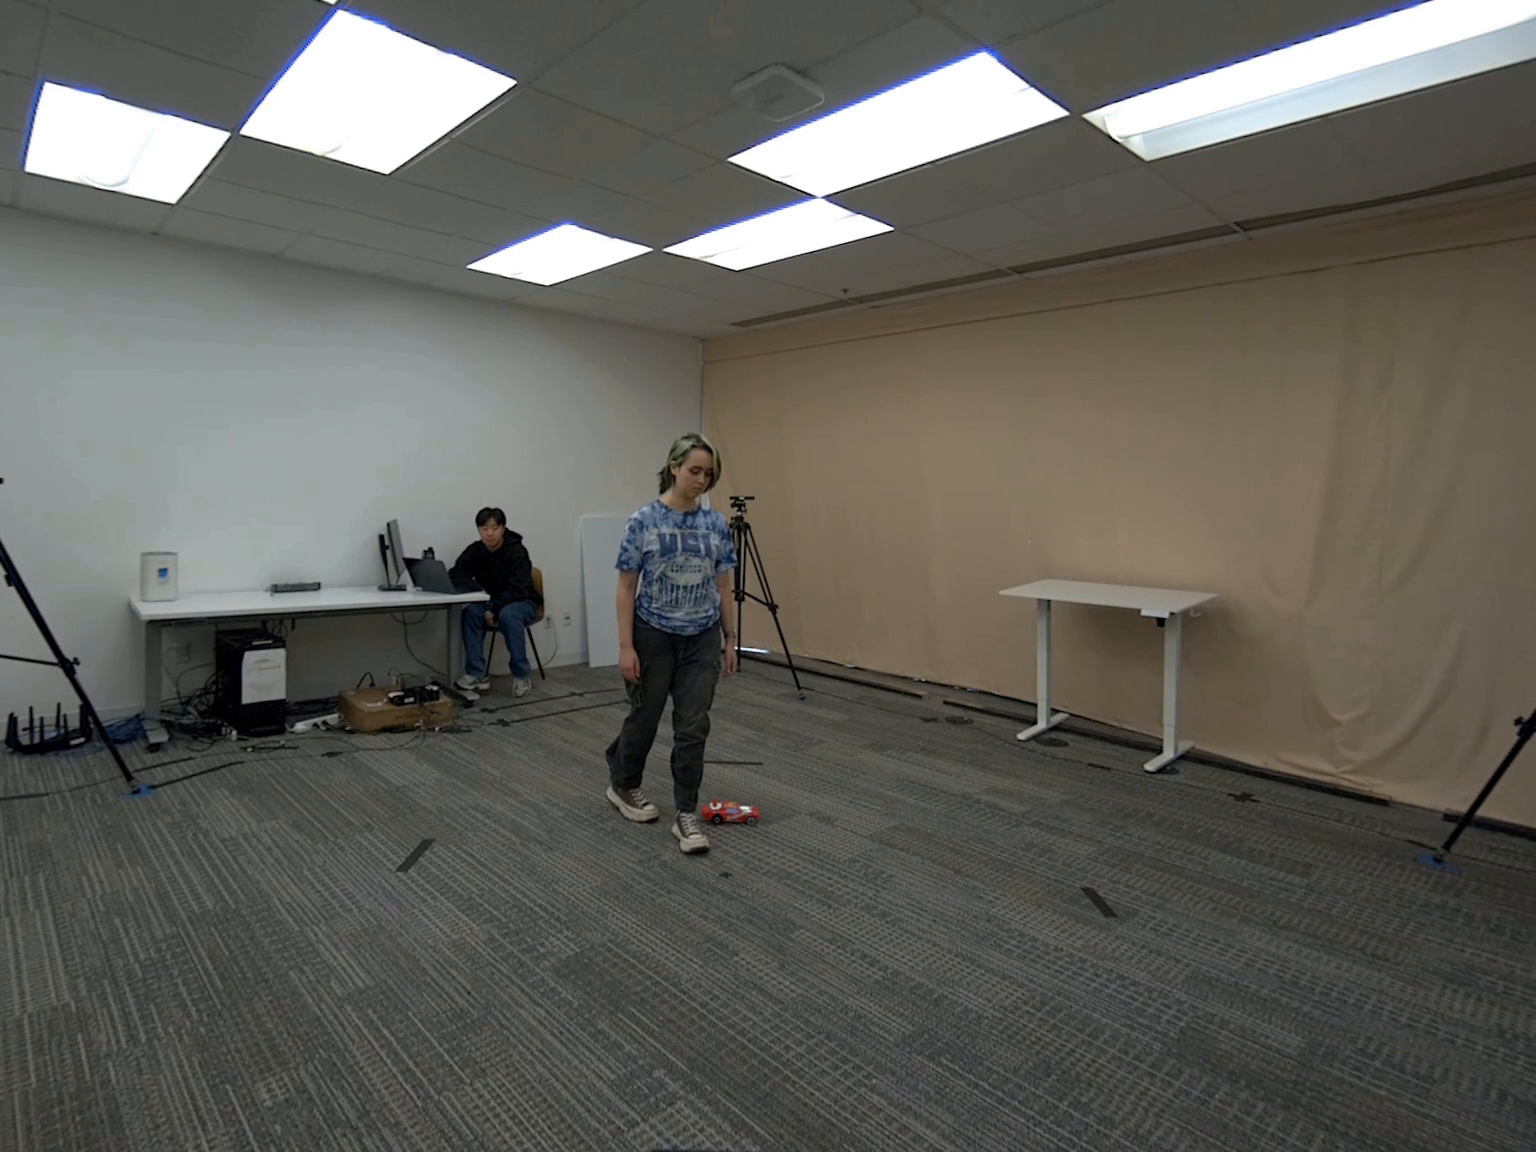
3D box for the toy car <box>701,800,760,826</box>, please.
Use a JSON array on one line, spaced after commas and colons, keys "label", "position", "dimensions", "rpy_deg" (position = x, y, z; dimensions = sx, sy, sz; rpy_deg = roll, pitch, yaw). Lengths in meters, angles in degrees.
[{"label": "toy car", "position": [-0.182, 1.027, 3.636], "dimensions": [0.254, 0.083, 0.131], "rpy_deg": [12, 5, -3]}]
